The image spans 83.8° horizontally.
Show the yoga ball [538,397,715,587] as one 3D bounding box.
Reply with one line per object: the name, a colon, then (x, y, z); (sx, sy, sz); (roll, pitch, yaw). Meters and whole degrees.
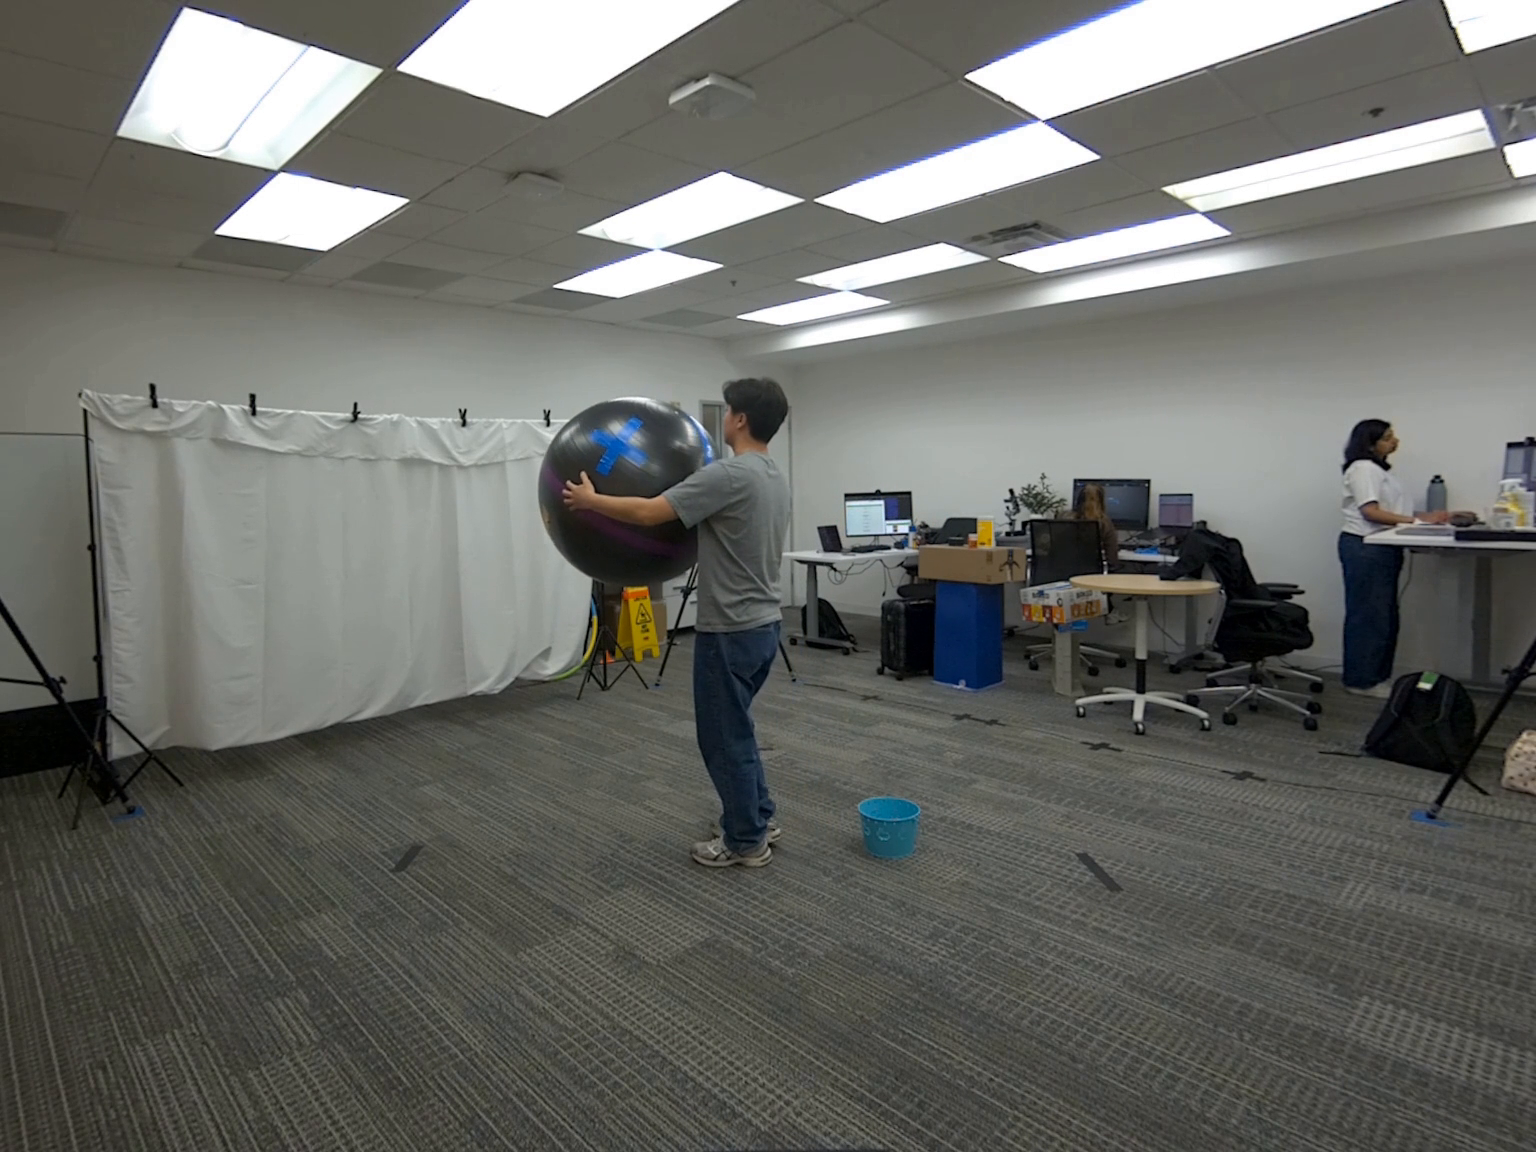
yoga ball: (-0.544, -0.327, 3.439); (0.757, 0.755, 0.762); (-1, 5, -2)
